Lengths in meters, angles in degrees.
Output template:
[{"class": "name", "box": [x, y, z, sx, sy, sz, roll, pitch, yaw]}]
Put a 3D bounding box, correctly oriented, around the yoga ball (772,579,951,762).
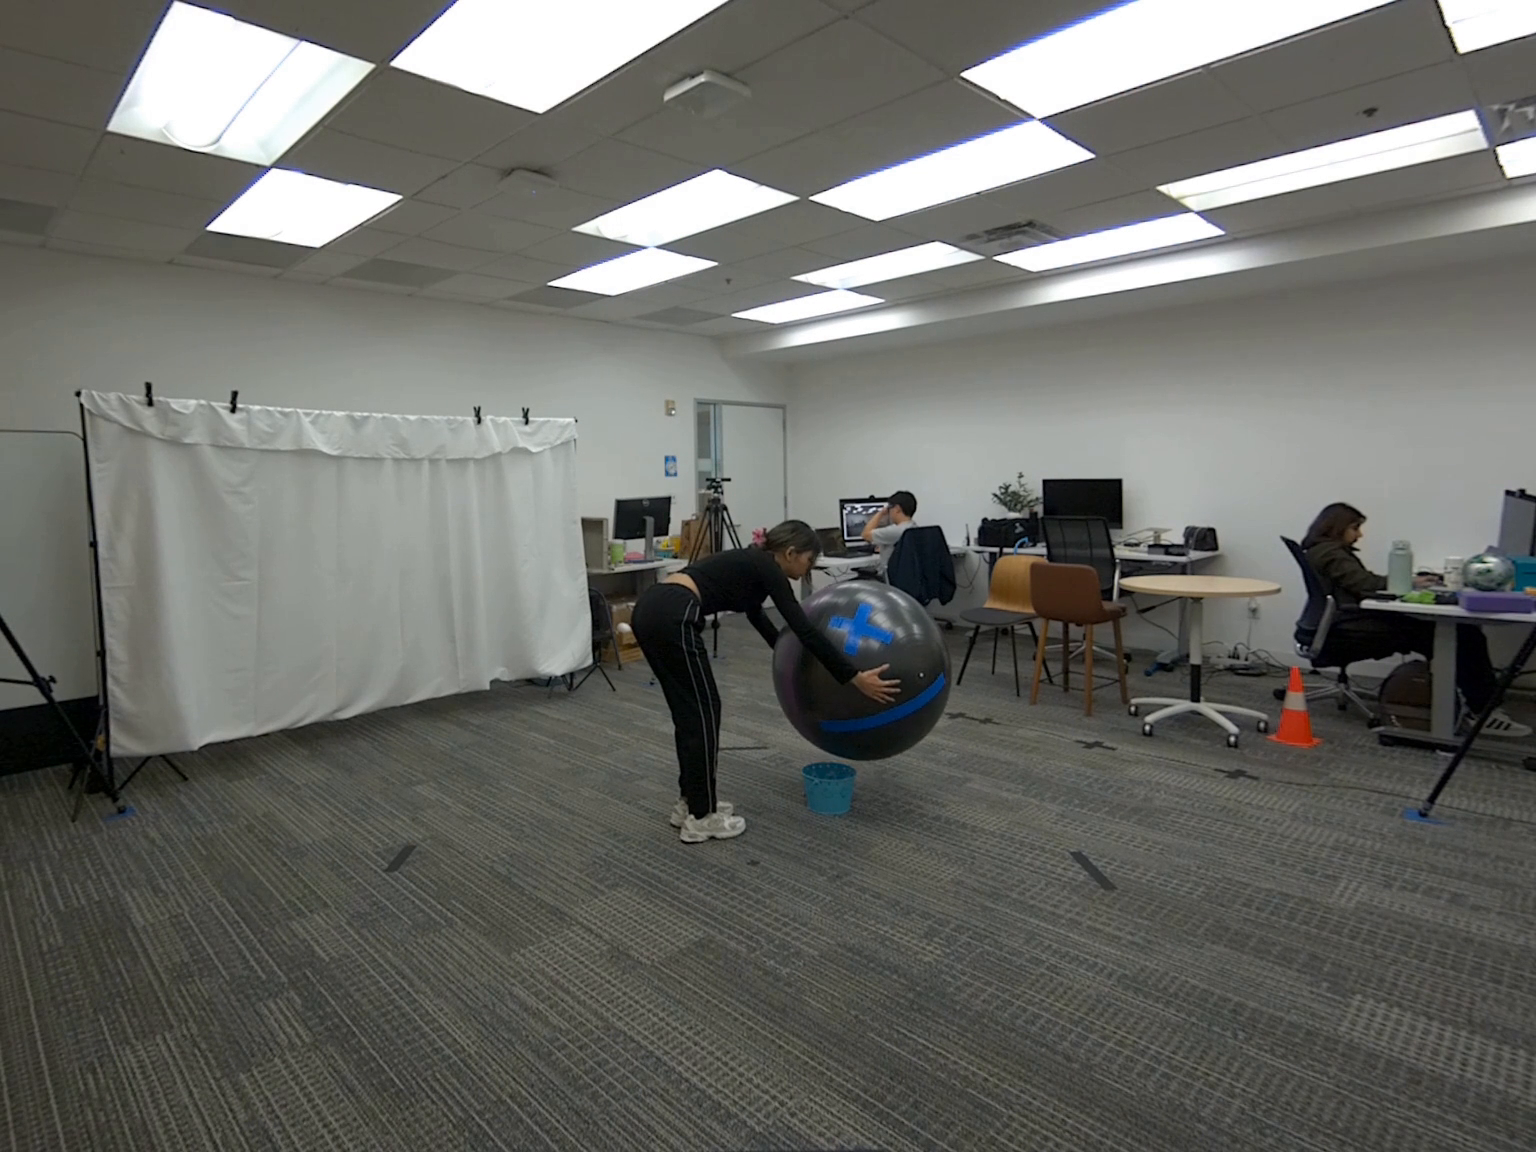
[{"class": "yoga ball", "box": [0.401, 0.403, 3.673, 0.757, 0.755, 0.762, -1, 5, -2]}]
